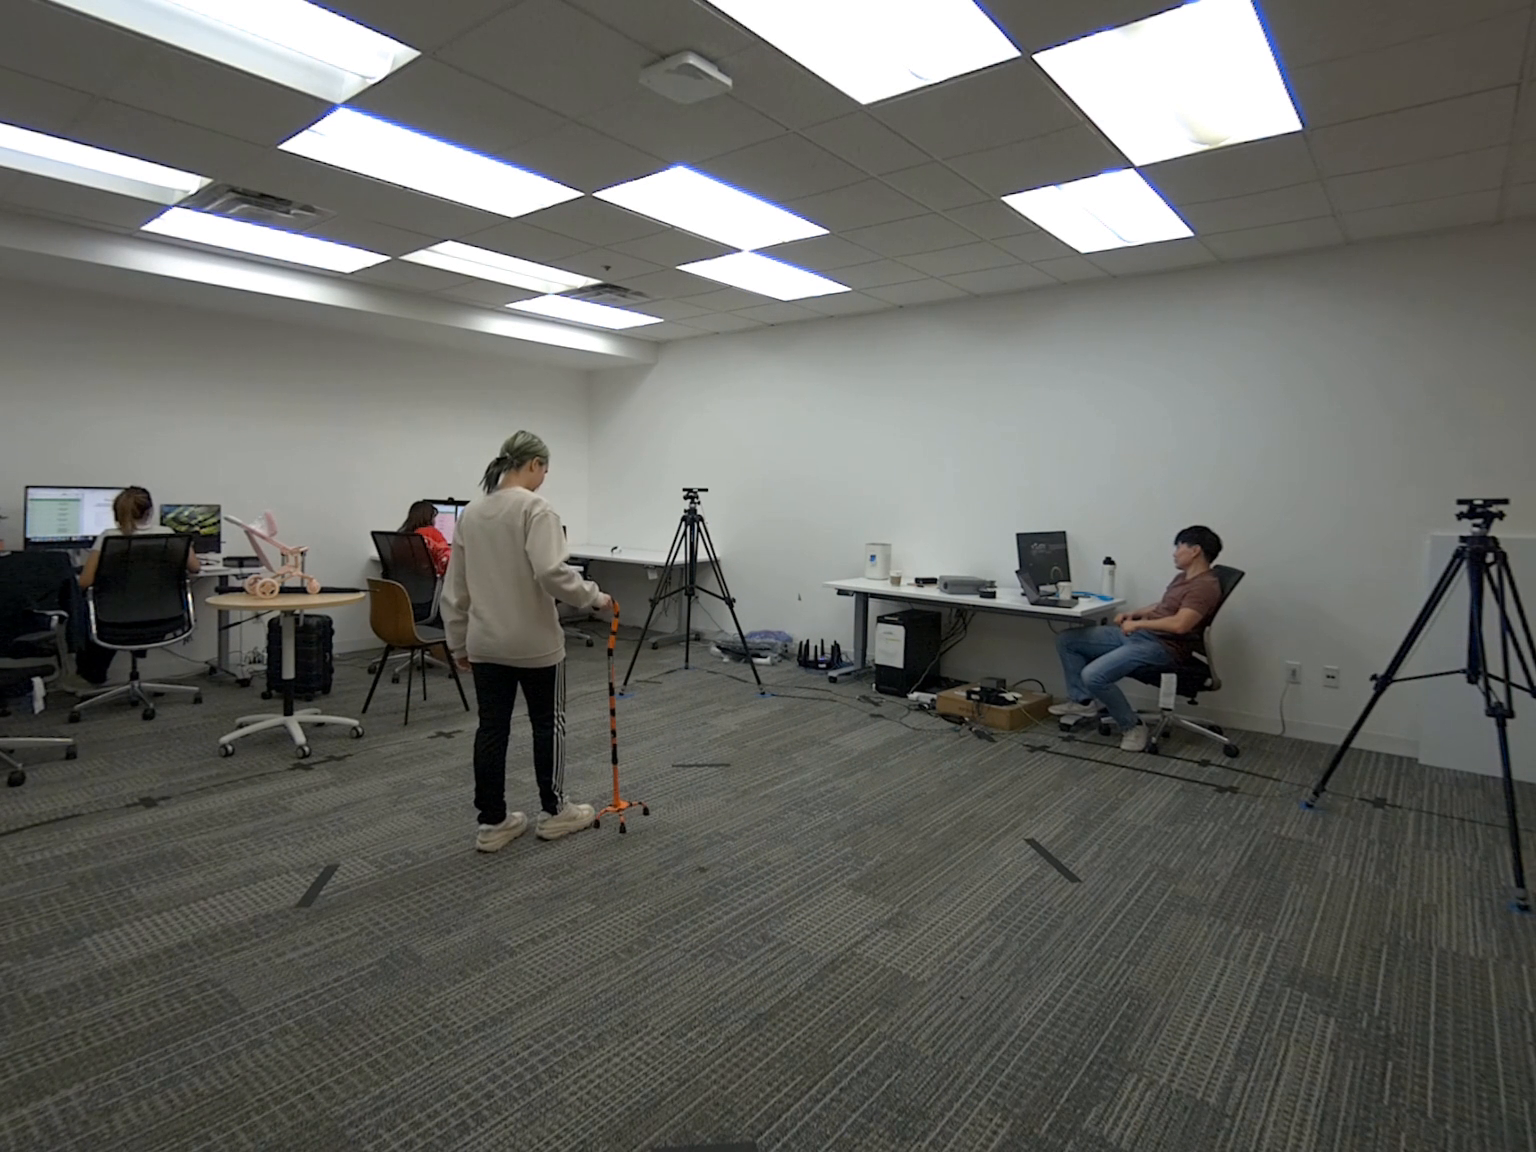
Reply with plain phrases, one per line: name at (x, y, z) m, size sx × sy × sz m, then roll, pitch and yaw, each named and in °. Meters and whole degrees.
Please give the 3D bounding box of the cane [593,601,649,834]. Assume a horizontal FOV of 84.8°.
cane at (-0.614, 0.545, 3.385) m, size 0.155 × 0.903 × 0.203 m, roll 1°, pitch 6°, yaw 23°
